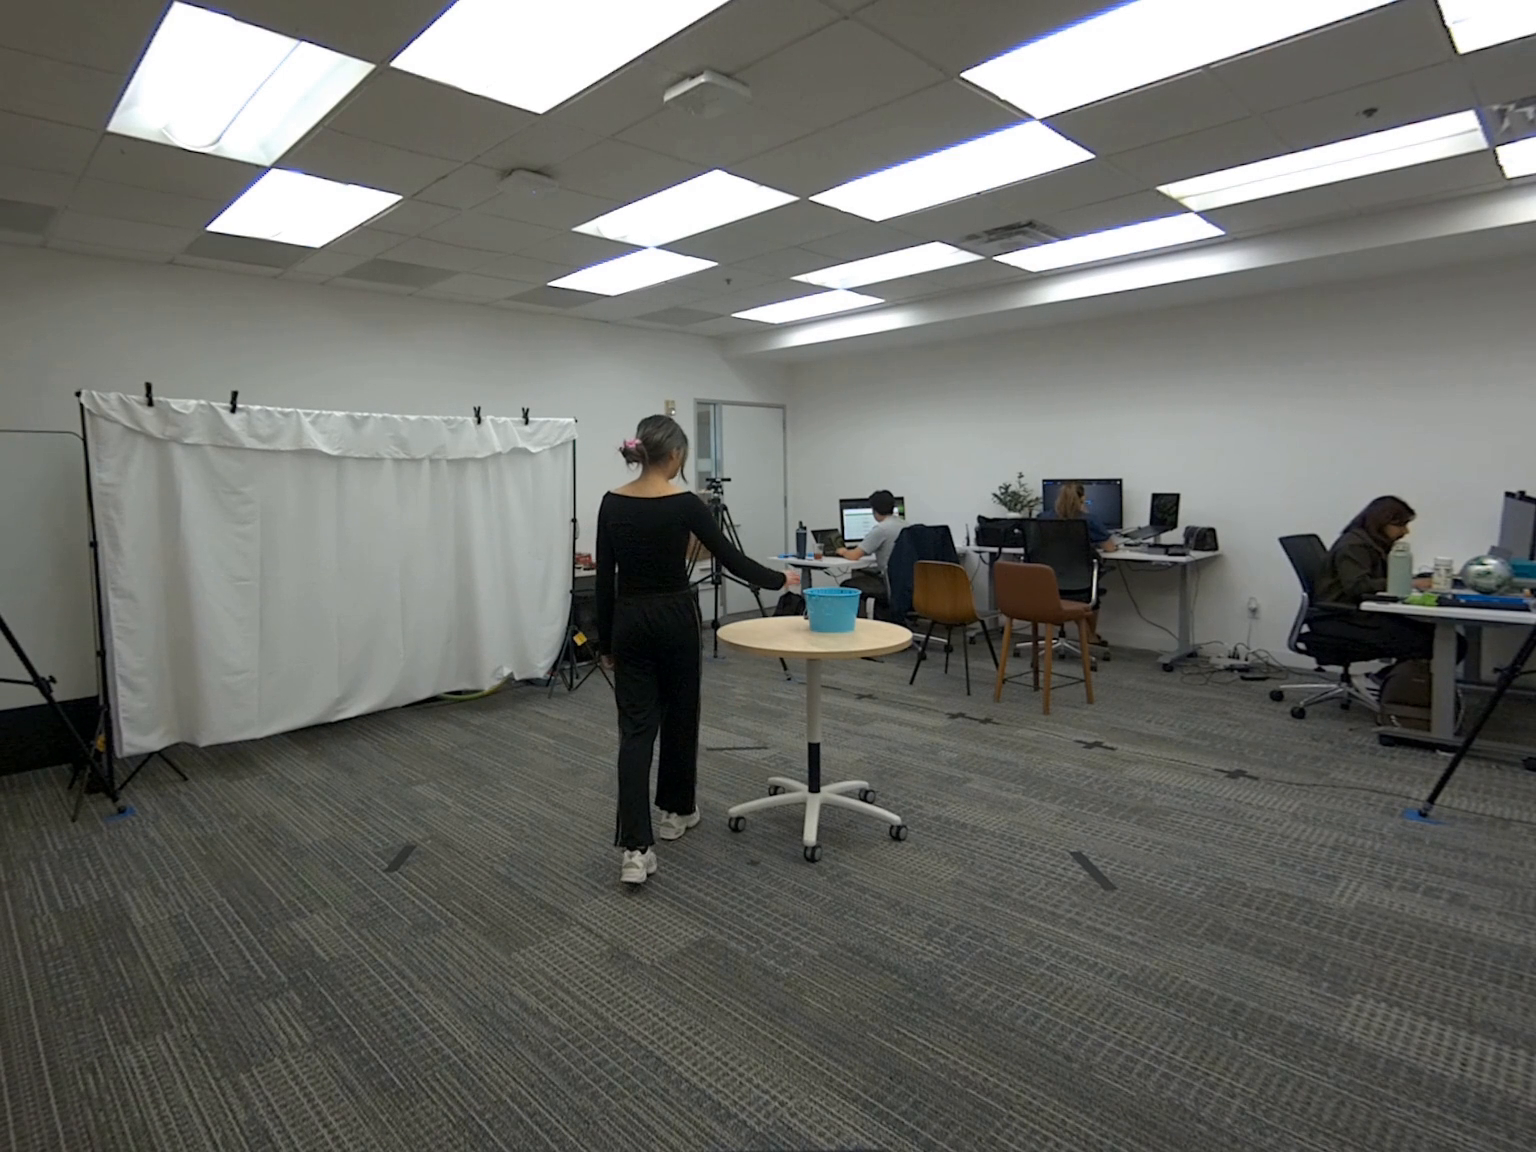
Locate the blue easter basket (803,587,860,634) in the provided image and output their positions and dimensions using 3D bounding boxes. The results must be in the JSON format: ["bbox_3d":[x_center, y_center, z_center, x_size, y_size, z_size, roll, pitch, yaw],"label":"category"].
[{"bbox_3d":[0.266,0.140,3.456,0.243,0.155,0.245,-1,6,-2],"label":"blue easter basket"}]
